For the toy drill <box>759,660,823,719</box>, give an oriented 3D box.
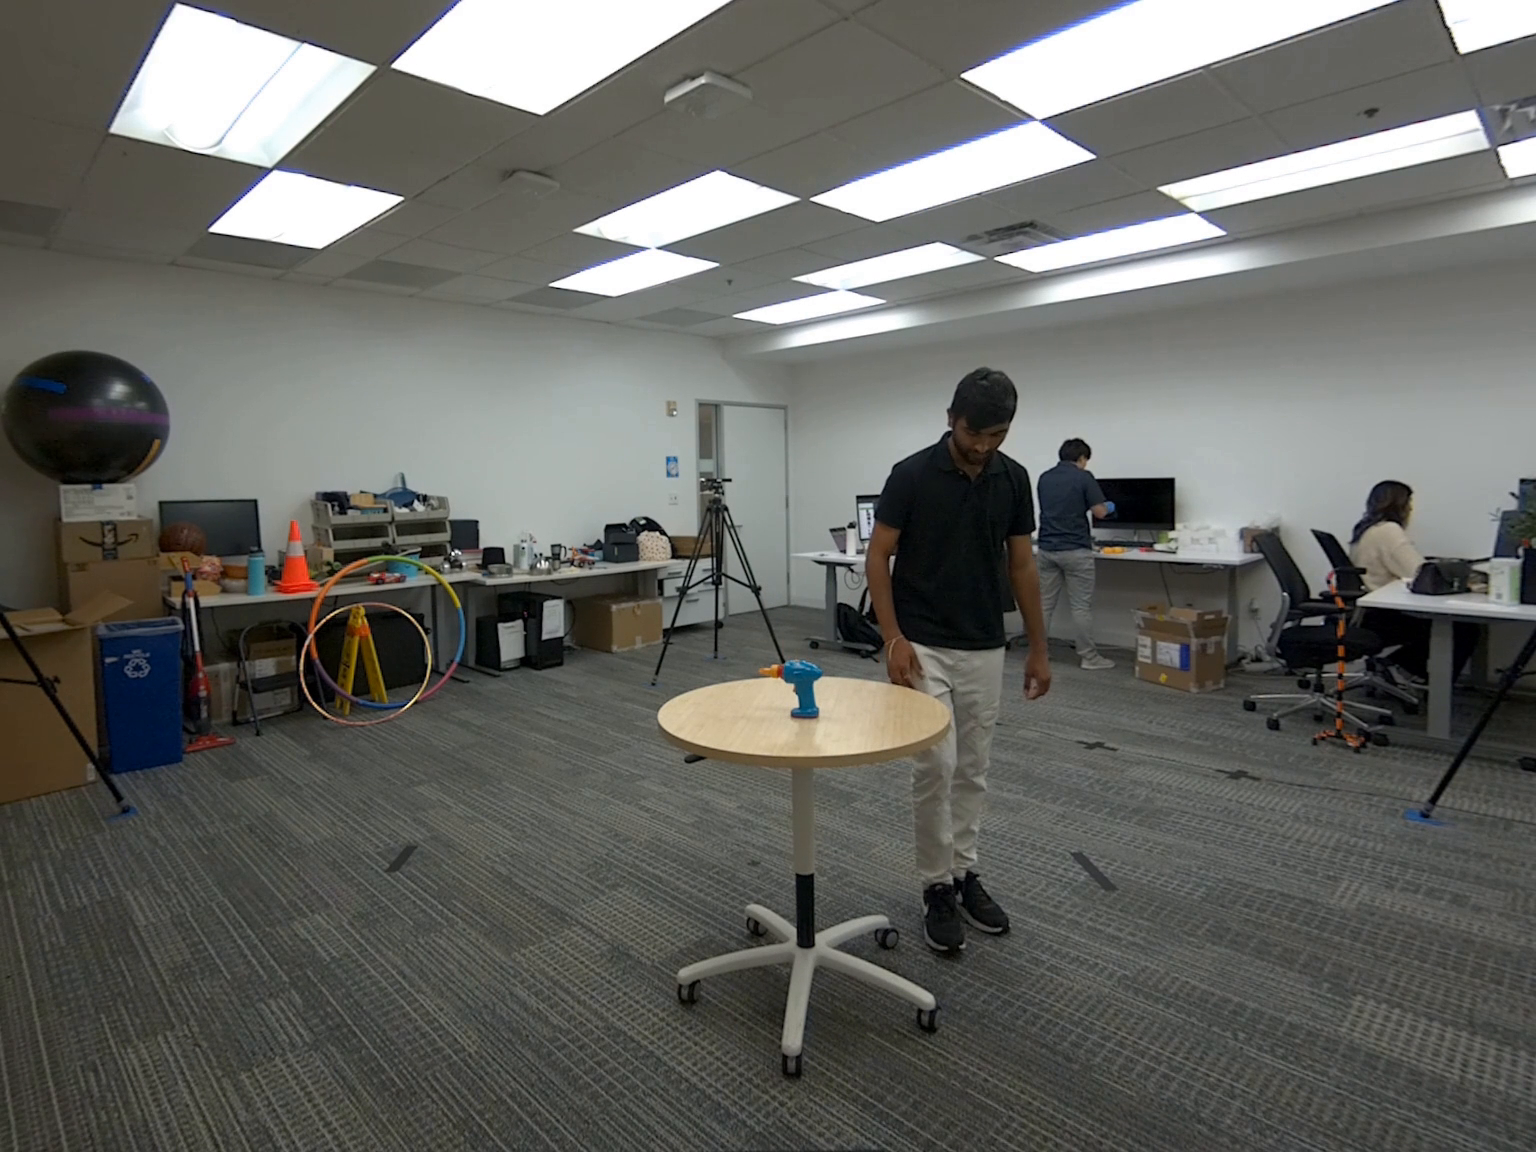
[{"bbox_3d":[0.067,0.292,2.208,0.171,0.145,0.061,0,5,11],"label":"toy drill"}]
